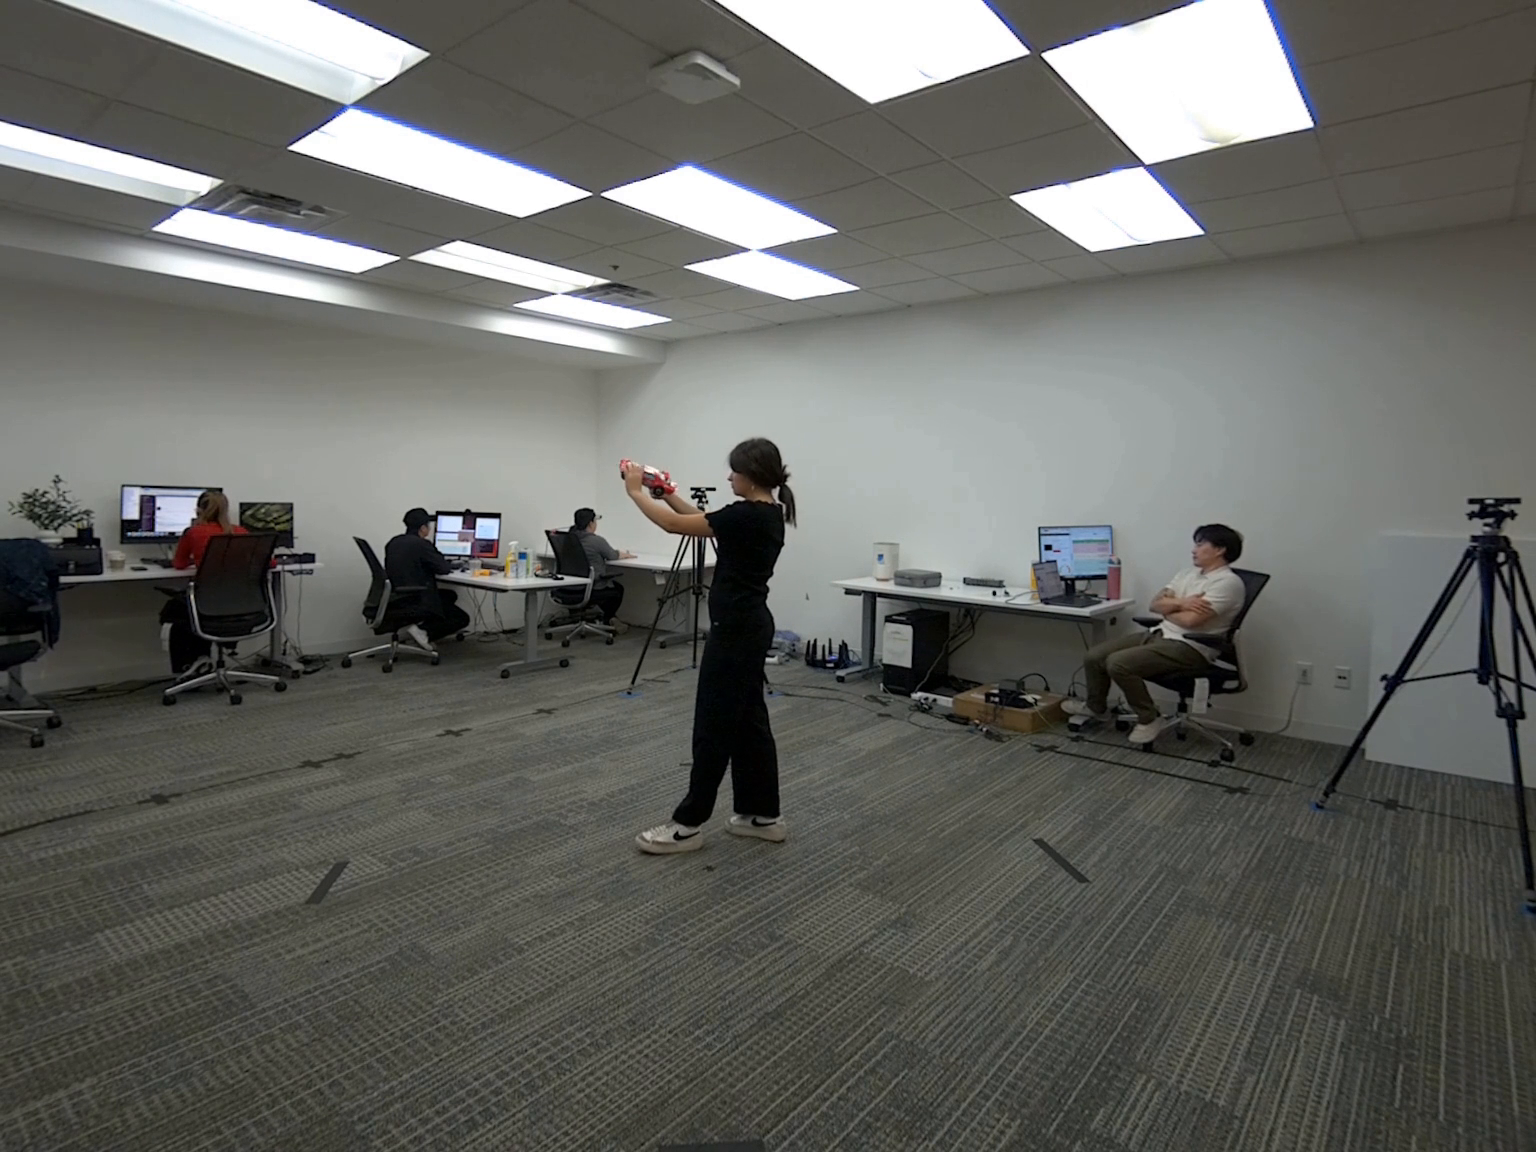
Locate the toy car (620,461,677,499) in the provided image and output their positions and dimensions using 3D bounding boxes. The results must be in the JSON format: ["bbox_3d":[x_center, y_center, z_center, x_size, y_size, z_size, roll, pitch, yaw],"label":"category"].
[{"bbox_3d":[-0.497,-0.398,3.450,0.249,0.082,0.134,15,26,-16],"label":"toy car"}]
